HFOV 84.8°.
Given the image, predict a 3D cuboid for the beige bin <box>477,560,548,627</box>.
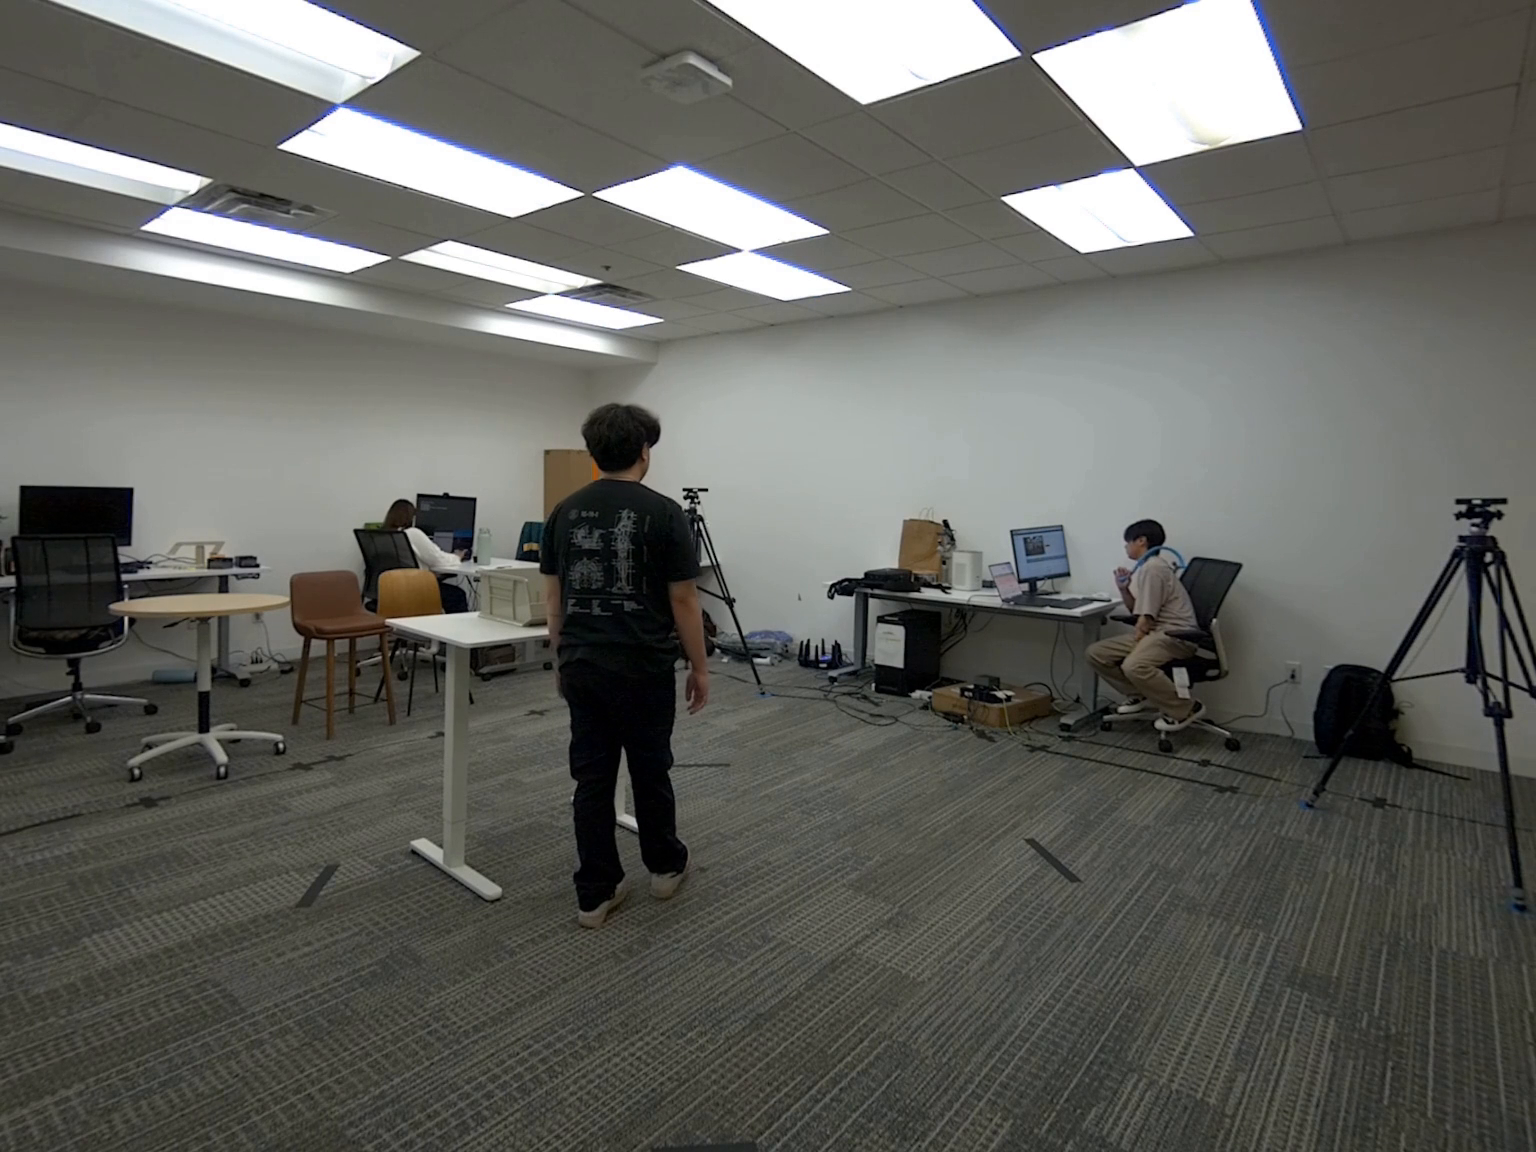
[{"bbox_3d":[-0.845,0.070,3.275,0.390,0.188,0.410,5,7,44],"label":"beige bin"}]
